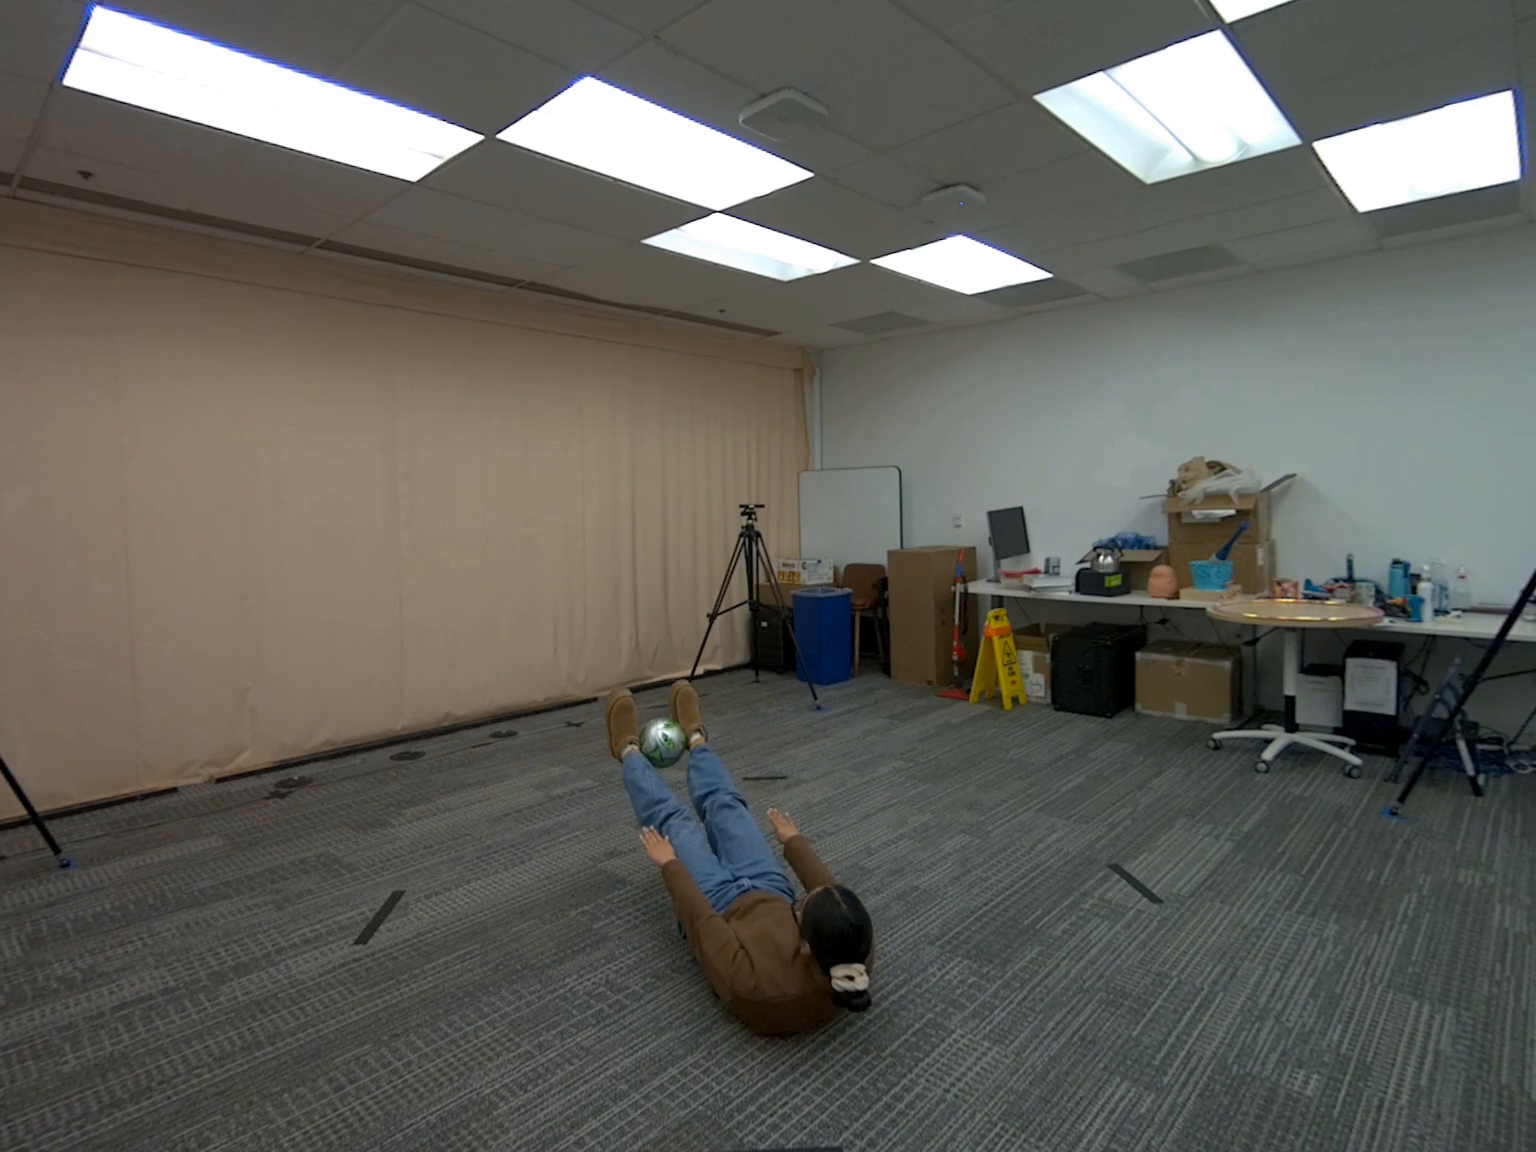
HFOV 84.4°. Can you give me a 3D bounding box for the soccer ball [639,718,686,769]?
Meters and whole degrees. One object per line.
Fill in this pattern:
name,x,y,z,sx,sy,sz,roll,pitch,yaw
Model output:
soccer ball,-0.407,0.644,3.205,0.187,0.187,0.188,-1,4,-2
